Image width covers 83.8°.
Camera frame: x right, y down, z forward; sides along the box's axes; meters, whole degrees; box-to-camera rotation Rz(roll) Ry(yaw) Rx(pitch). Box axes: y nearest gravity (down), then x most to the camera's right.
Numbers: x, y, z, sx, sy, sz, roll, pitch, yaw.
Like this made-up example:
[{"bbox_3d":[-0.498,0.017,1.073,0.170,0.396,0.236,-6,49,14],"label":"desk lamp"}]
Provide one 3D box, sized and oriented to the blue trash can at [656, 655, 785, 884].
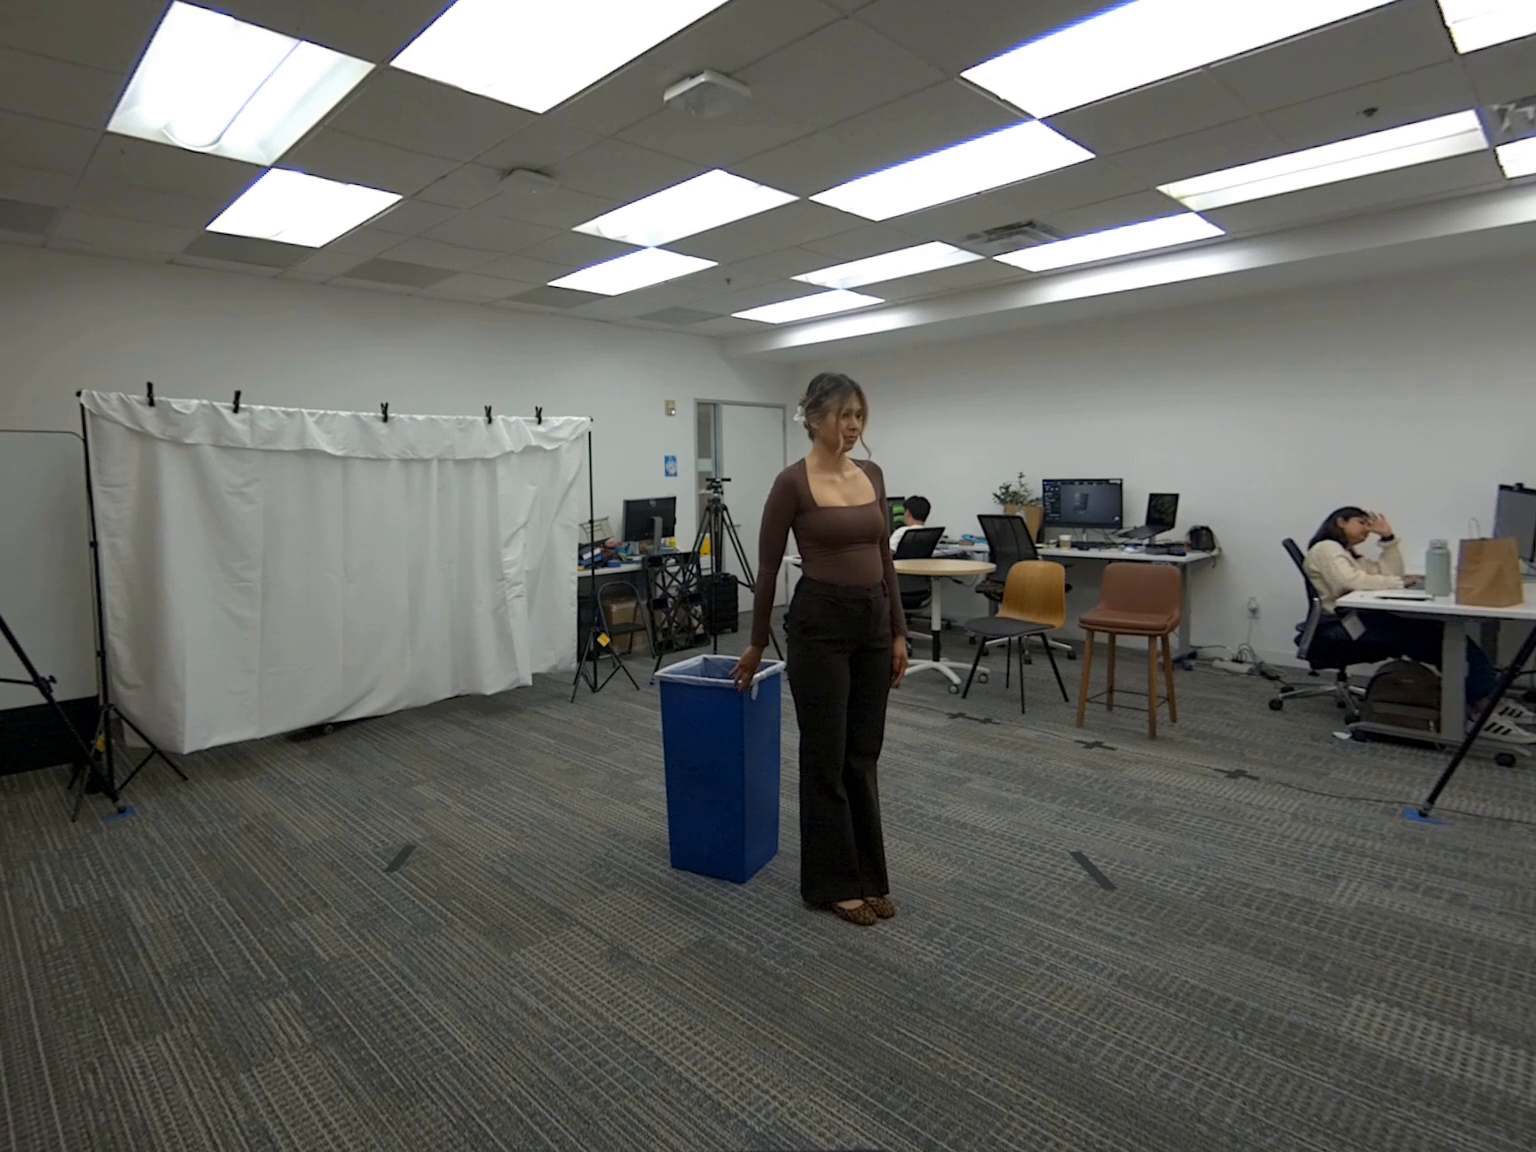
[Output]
[{"bbox_3d":[-0.157,0.684,3.114,0.387,0.712,0.366,1,3,26],"label":"blue trash can"}]
